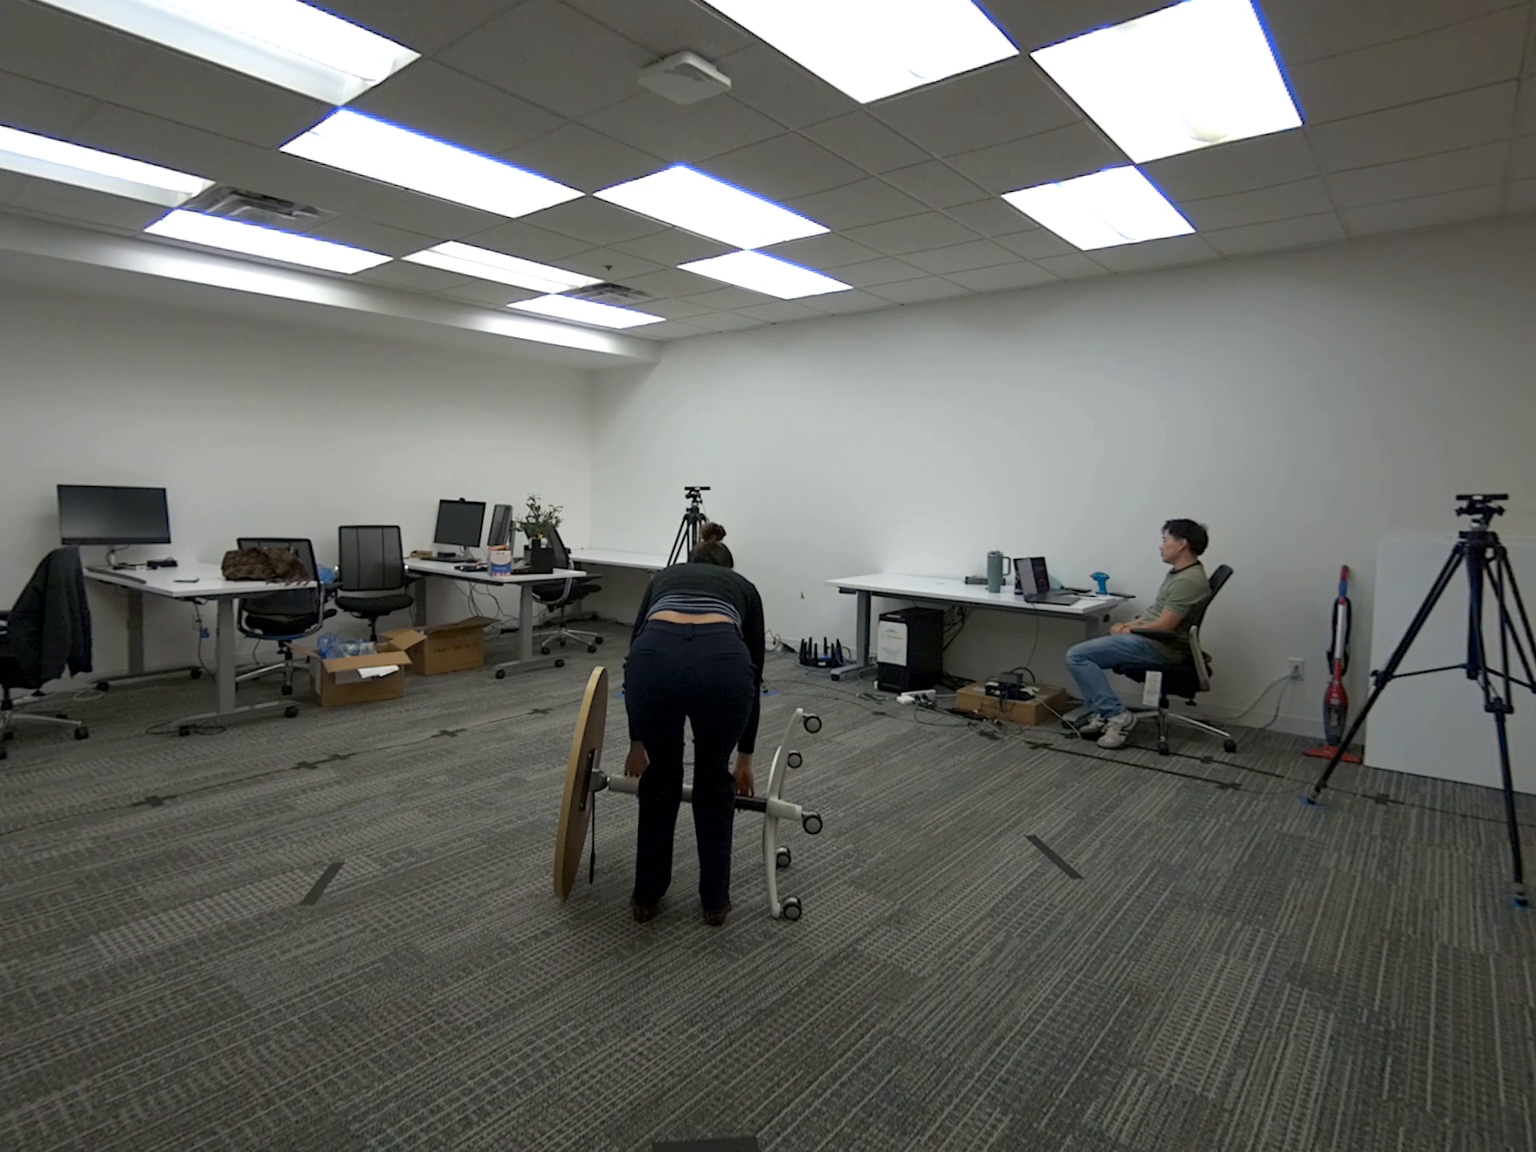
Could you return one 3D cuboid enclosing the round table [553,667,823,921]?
[{"bbox_3d":[-0.266,0.752,2.941,0.793,0.762,0.768,9,4,-2],"label":"round table"}]
